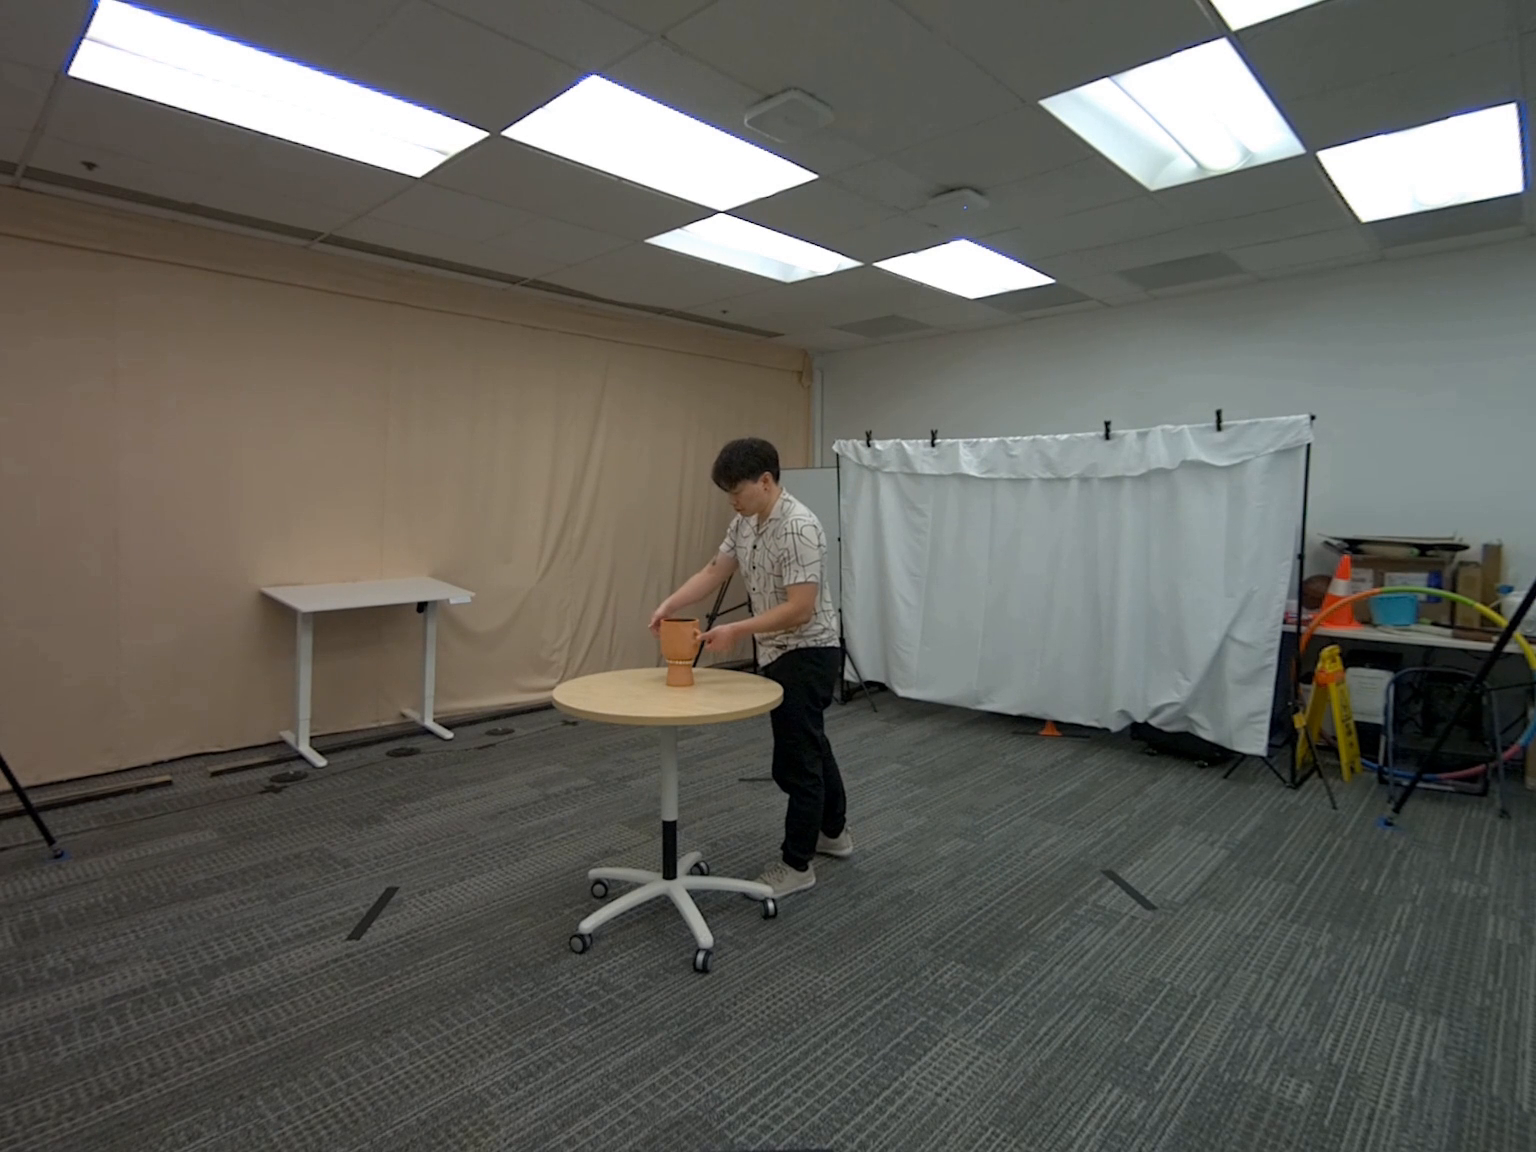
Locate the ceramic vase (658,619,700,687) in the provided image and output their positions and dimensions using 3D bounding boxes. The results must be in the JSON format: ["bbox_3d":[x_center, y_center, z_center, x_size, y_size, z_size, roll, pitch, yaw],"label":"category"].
[{"bbox_3d":[-0.292,0.264,2.888,0.133,0.219,0.161,1,2,-14],"label":"ceramic vase"}]
